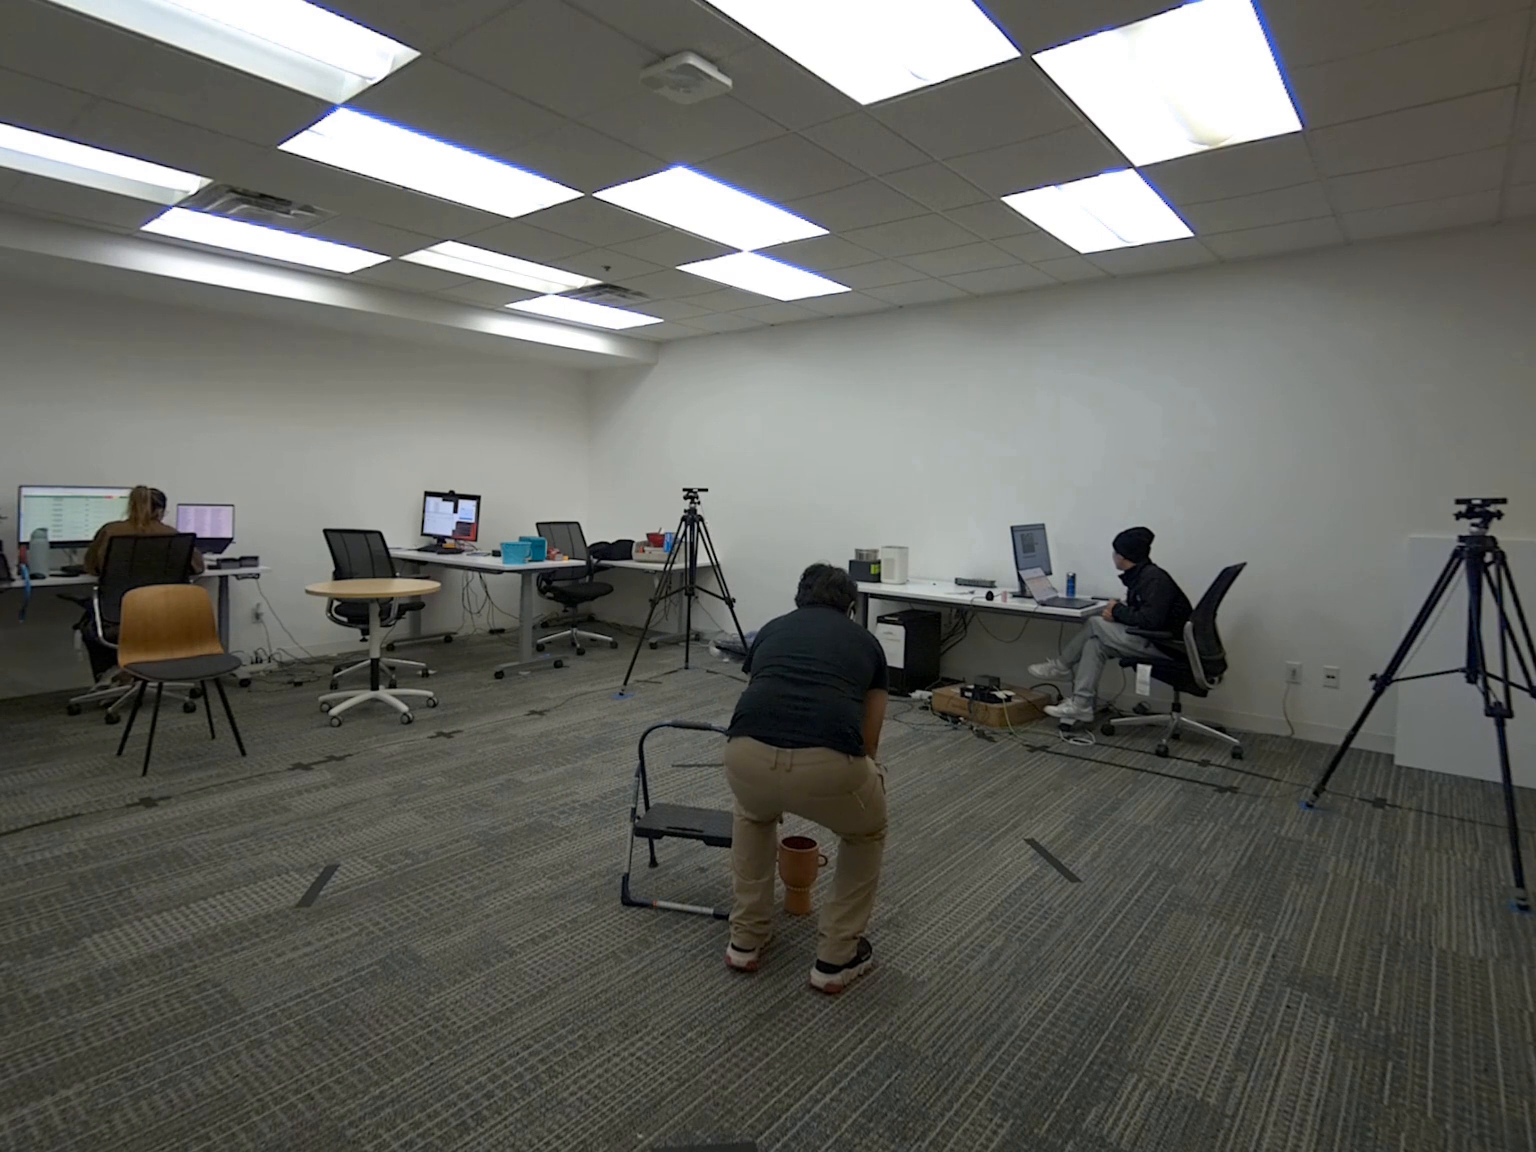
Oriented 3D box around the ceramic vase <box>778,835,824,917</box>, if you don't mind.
[{"bbox_3d":[0.093,0.997,2.822,0.130,0.219,0.164,-3,6,-41],"label":"ceramic vase"}]
